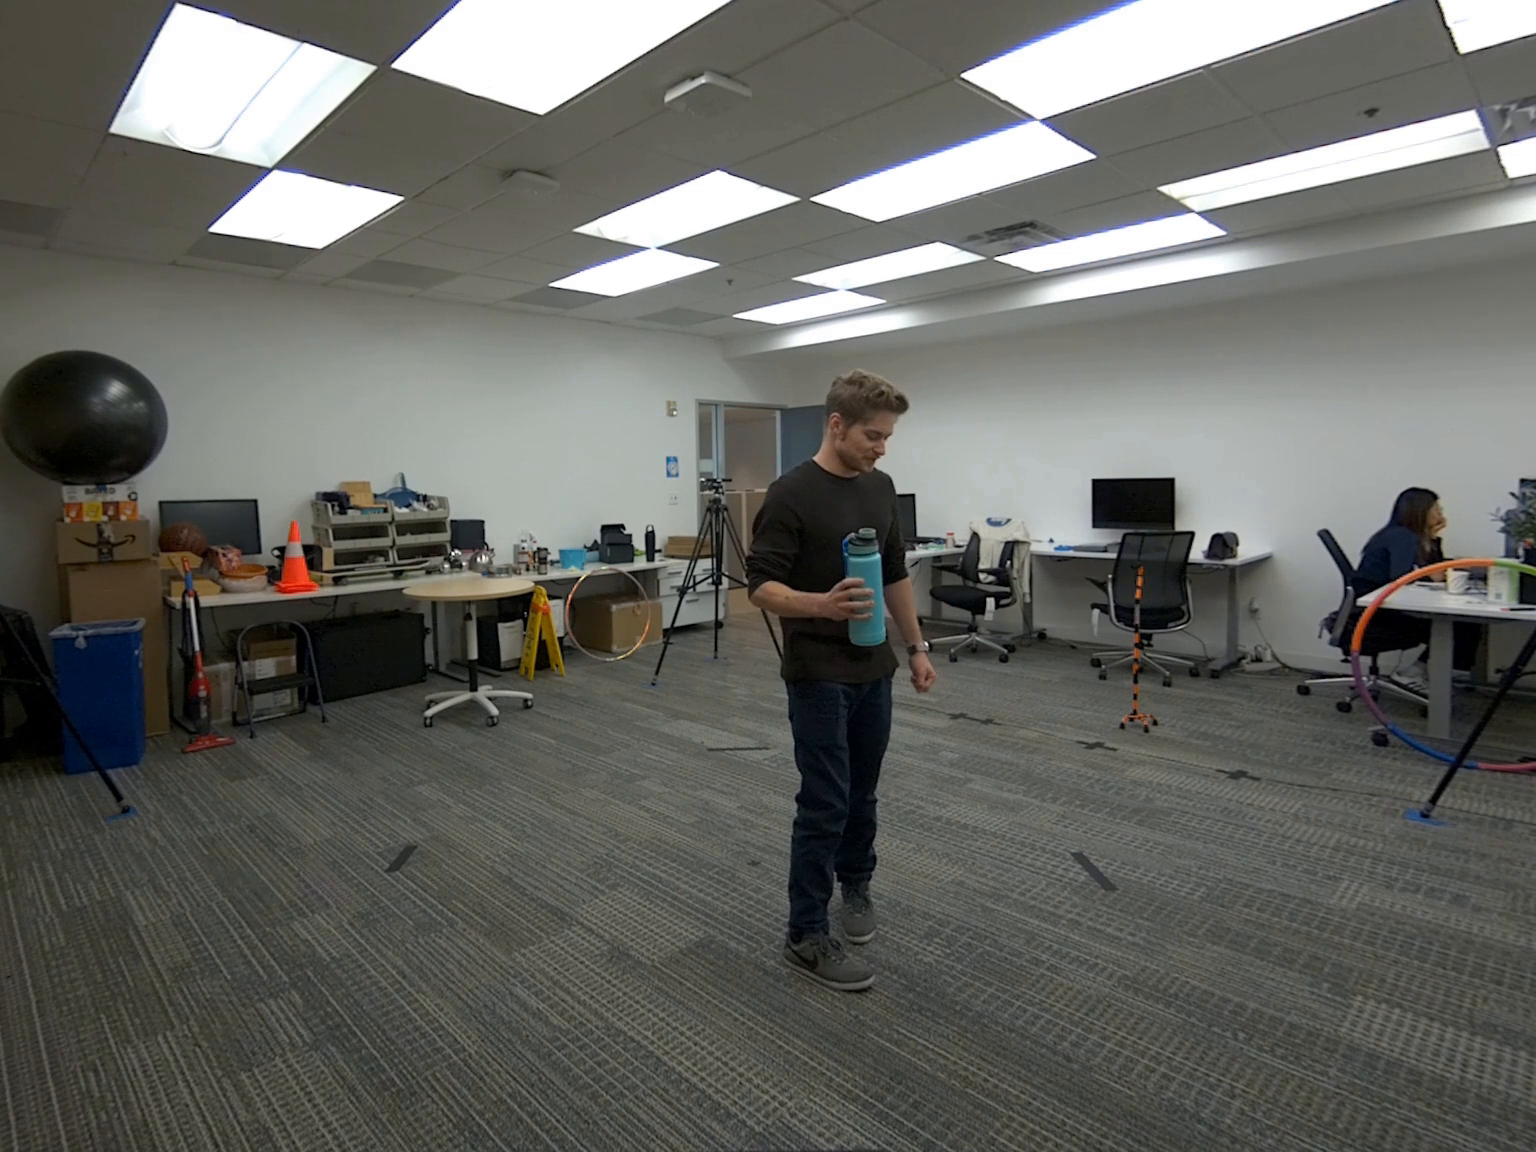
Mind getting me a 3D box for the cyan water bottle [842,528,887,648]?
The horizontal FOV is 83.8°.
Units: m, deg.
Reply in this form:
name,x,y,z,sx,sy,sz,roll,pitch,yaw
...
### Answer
name,x,y,z,sx,sy,sz,roll,pitch,yaw
cyan water bottle,0.239,0.025,2.117,0.092,0.280,0.093,-6,12,0
